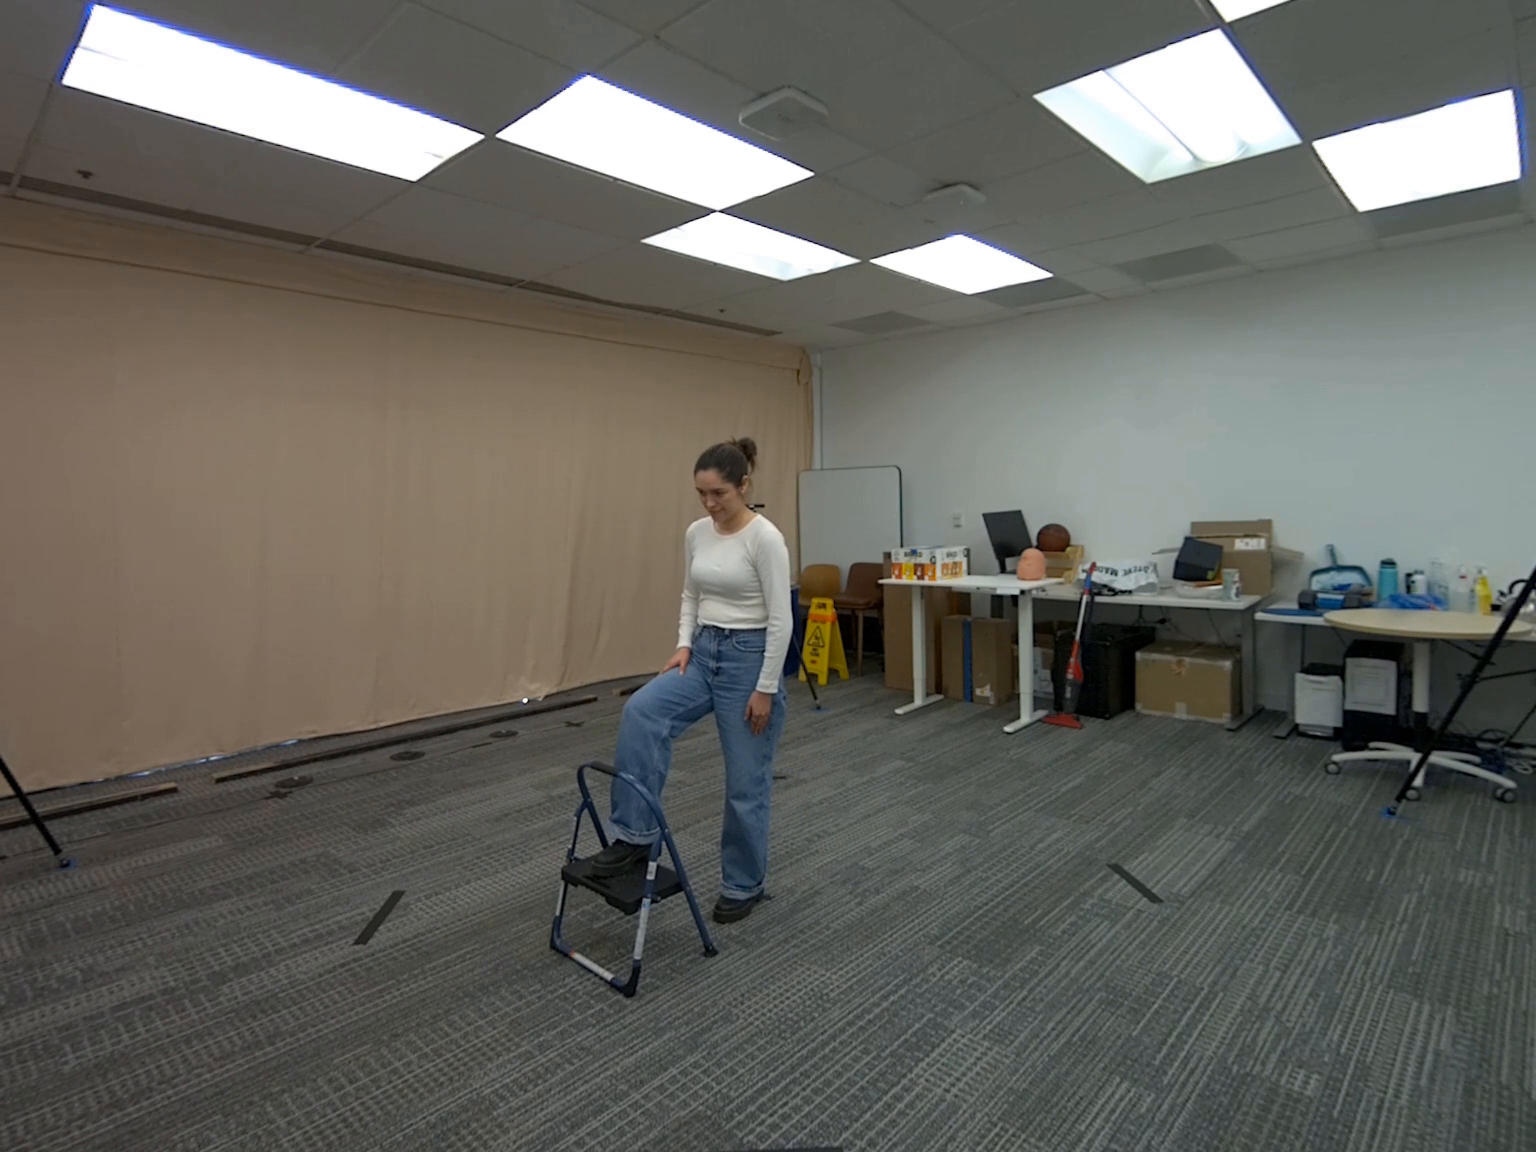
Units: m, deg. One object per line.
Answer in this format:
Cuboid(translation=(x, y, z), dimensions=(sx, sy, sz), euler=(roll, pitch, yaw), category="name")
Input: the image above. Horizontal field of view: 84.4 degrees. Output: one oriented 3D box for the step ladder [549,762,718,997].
Cuboid(translation=(-0.432, 0.878, 2.631), dimensions=(0.445, 0.605, 0.339), euler=(2, 4, 43), category="step ladder")
